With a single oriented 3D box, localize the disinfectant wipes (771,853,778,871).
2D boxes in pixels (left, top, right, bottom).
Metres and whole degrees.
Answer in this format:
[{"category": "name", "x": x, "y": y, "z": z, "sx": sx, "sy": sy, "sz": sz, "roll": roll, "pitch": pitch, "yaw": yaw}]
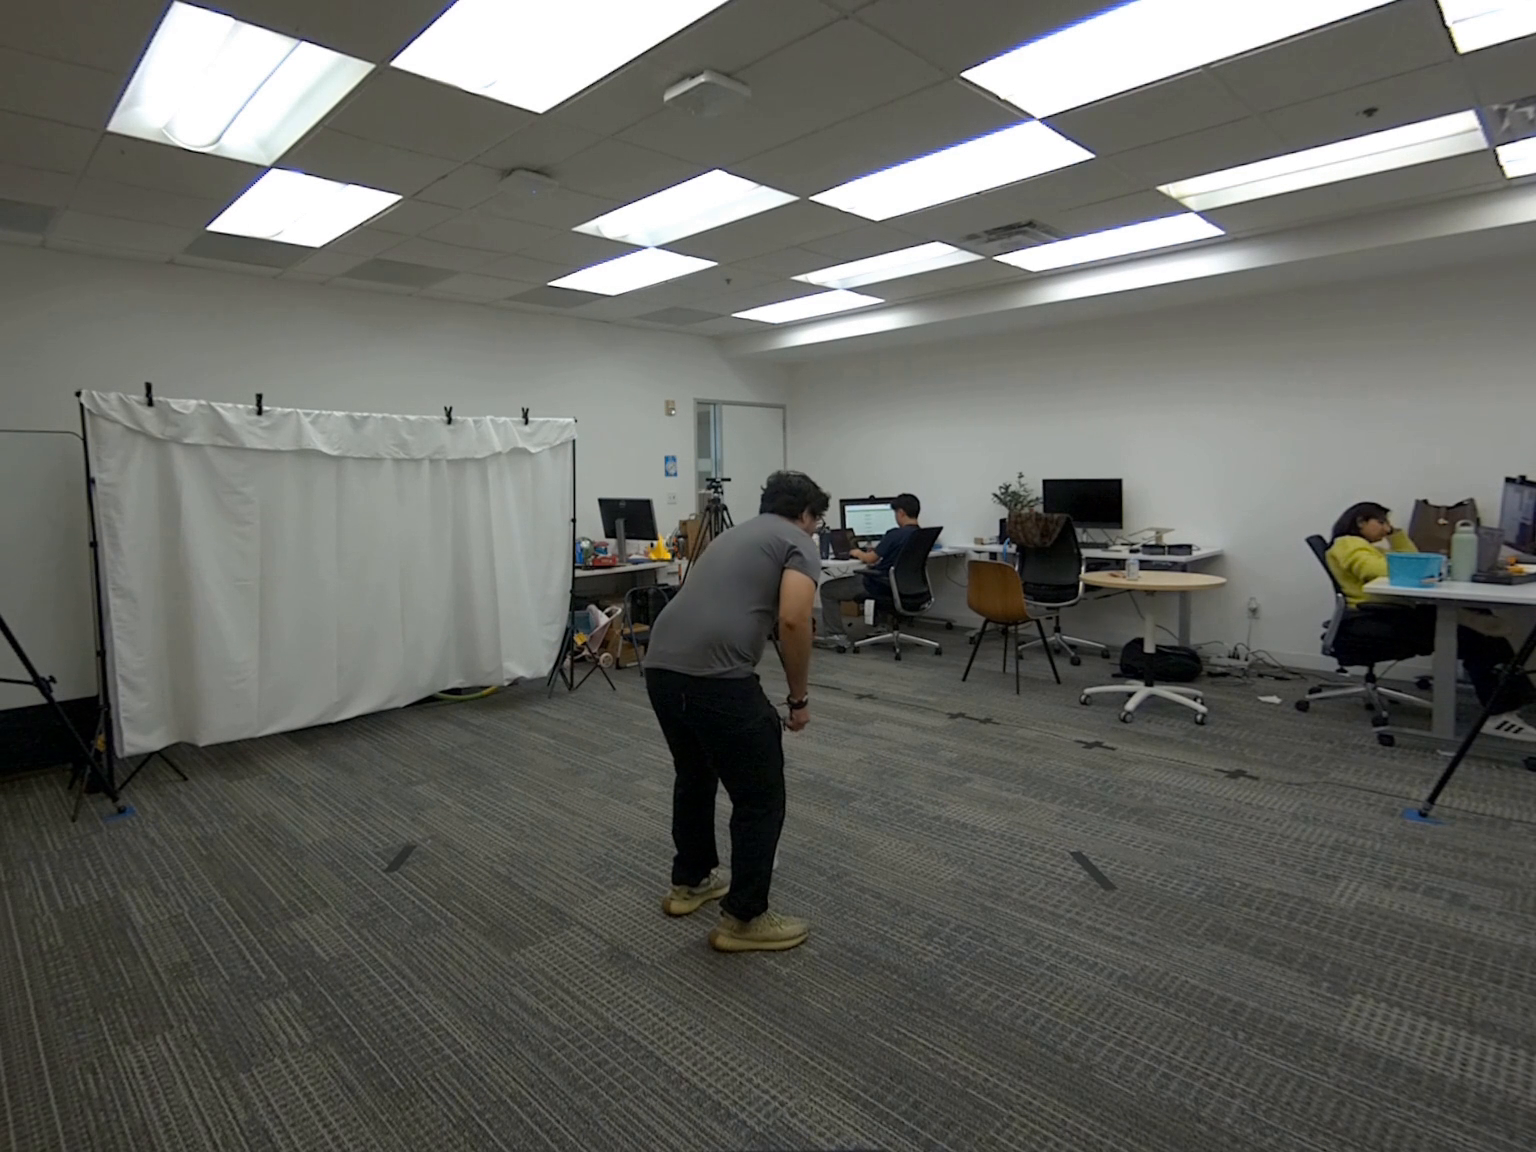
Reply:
[{"category": "disinfectant wipes", "x": -0.007, "y": 0.938, "z": 3.074, "sx": 0.118, "sy": 0.217, "sz": 0.118, "roll": -1, "pitch": 2, "yaw": -2}]
